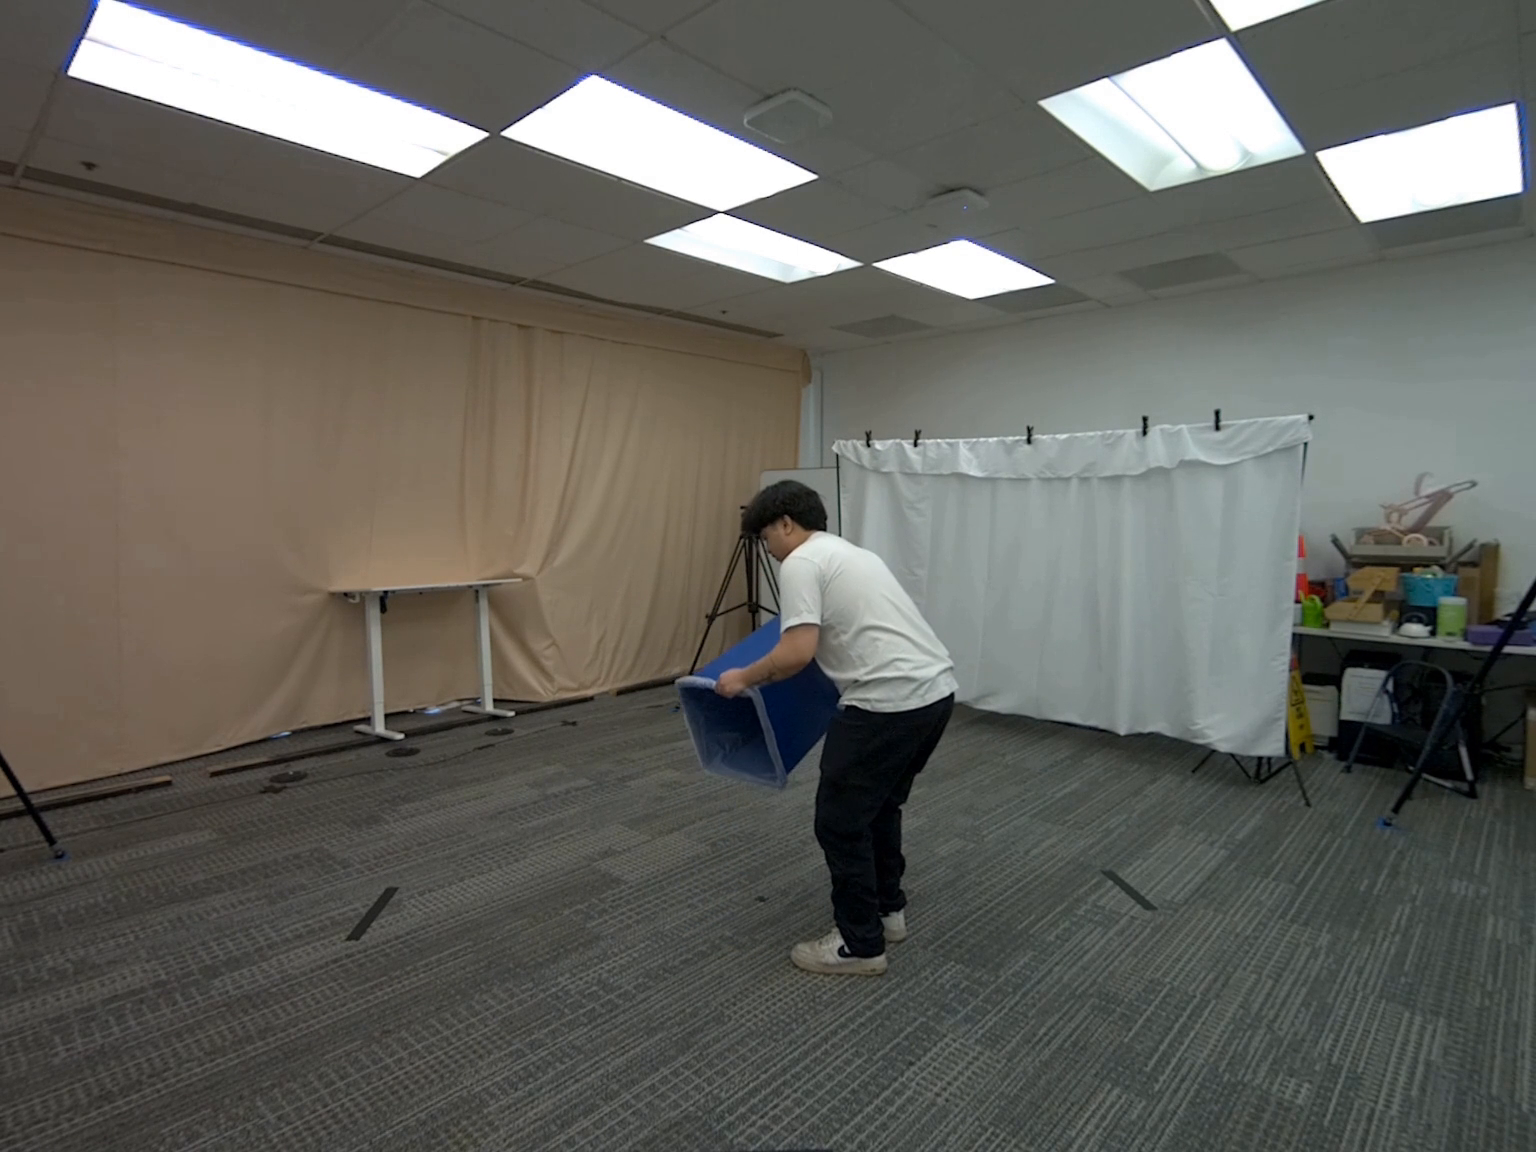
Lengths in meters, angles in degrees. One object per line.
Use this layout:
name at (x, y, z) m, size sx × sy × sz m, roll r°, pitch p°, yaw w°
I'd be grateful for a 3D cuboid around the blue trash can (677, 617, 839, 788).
blue trash can at (0.083, 0.376, 3.006) m, size 0.390 × 0.369 × 0.701 m, roll -1°, pitch 23°, yaw 41°
